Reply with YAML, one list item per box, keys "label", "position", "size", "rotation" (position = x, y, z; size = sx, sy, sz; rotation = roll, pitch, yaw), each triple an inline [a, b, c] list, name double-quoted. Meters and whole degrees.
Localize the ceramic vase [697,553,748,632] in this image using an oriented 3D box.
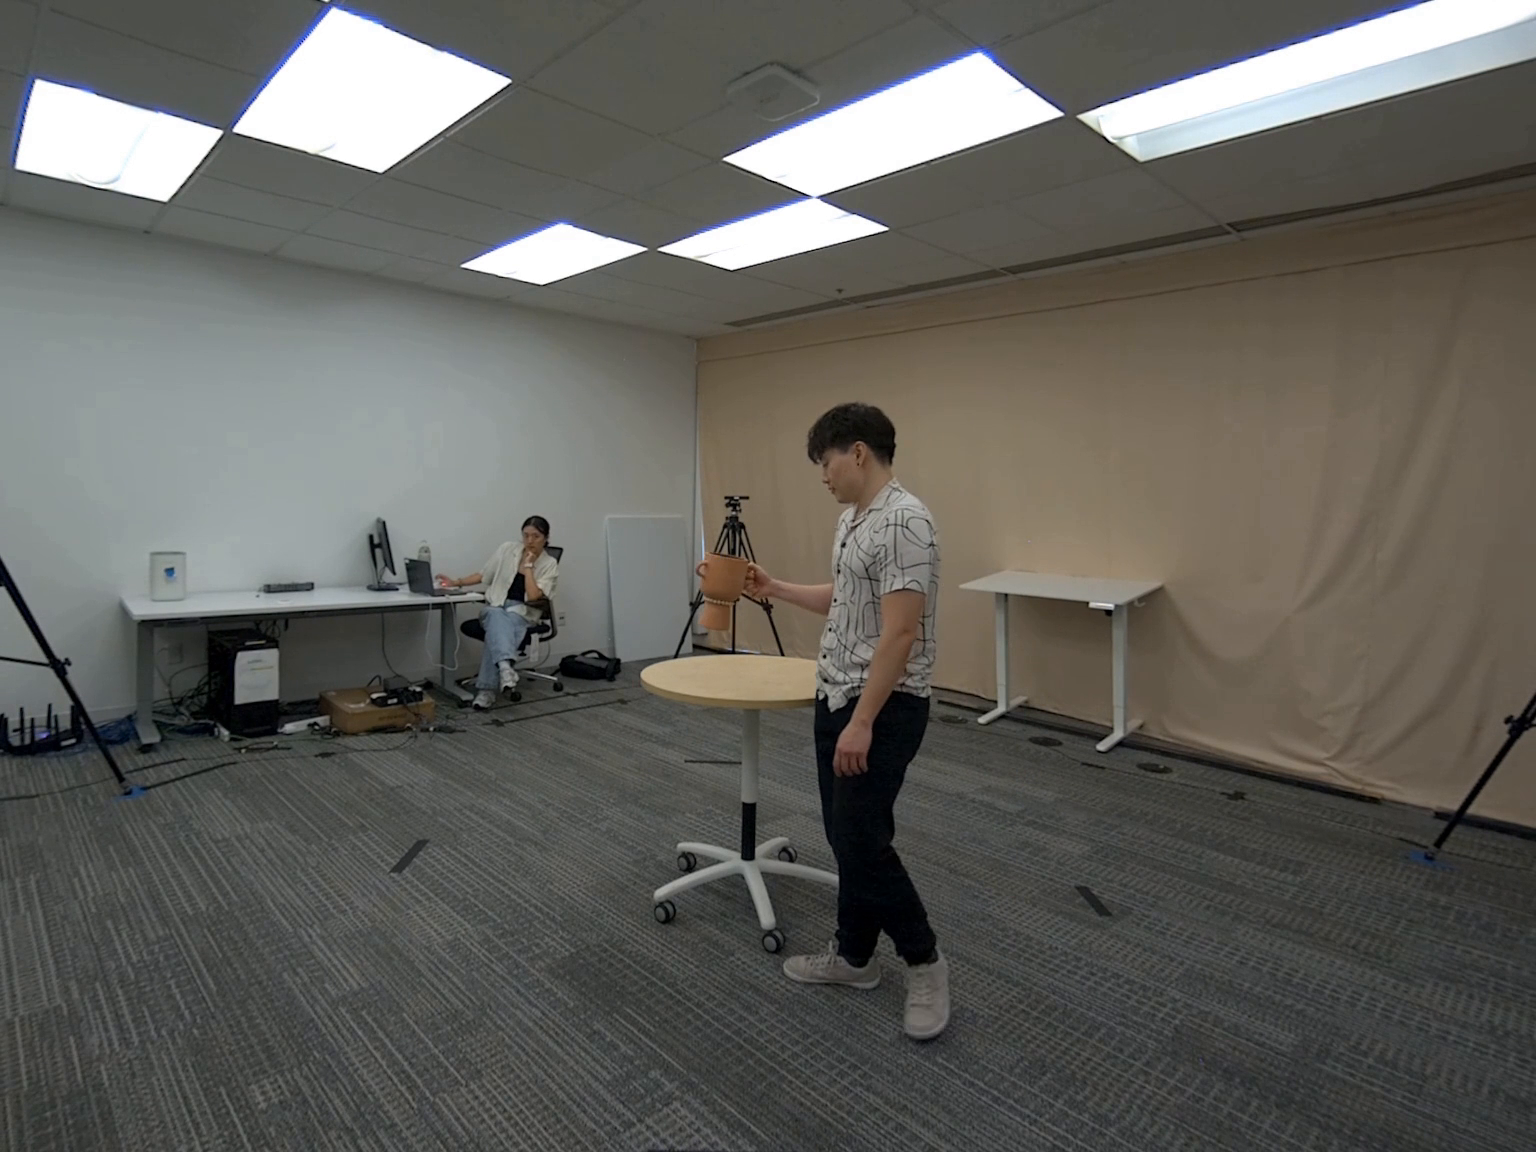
- label: "ceramic vase"
  position: [-0.136, 0.054, 2.546]
  size: [0.160, 0.219, 0.134]
  rotation: [9, 4, 5]
